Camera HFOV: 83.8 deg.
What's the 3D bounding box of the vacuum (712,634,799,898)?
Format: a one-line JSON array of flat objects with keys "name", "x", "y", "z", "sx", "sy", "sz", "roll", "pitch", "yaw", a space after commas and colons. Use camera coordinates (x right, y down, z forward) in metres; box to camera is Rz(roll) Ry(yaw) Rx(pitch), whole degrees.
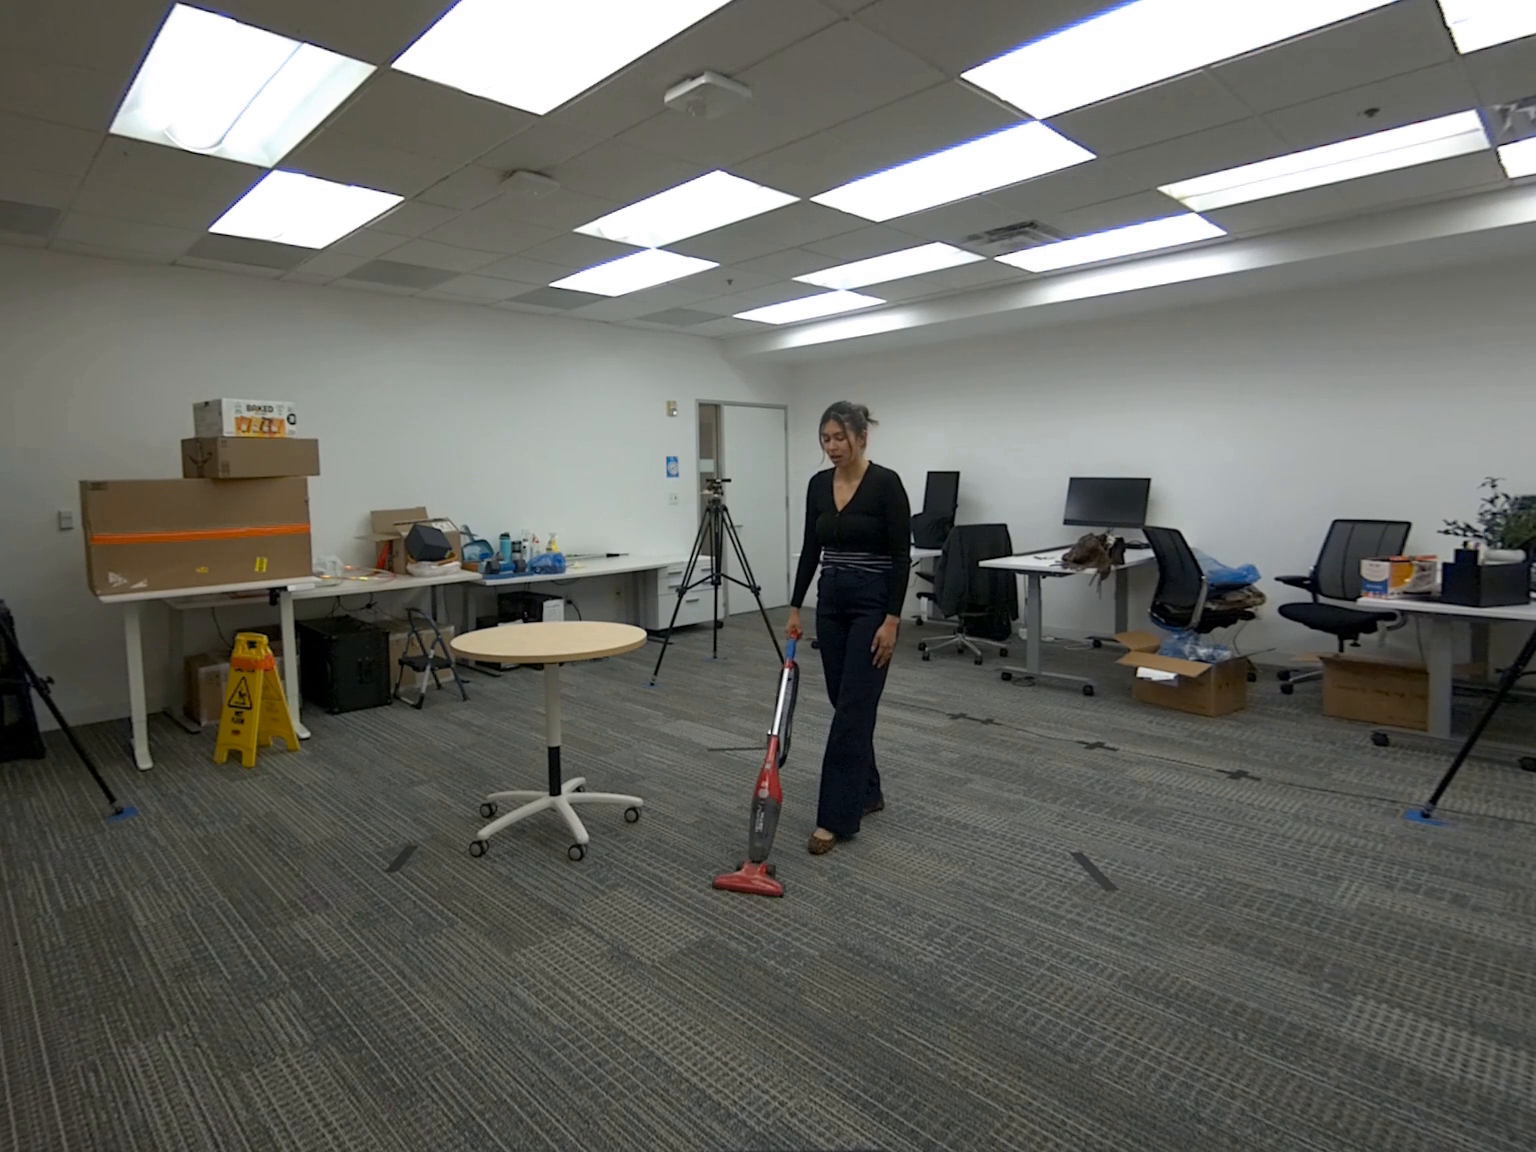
[{"name": "vacuum", "x": 0.032, "y": 0.641, "z": 3.250, "sx": 0.256, "sy": 1.070, "sz": 0.139, "roll": 0, "pitch": -38, "yaw": 15}]
